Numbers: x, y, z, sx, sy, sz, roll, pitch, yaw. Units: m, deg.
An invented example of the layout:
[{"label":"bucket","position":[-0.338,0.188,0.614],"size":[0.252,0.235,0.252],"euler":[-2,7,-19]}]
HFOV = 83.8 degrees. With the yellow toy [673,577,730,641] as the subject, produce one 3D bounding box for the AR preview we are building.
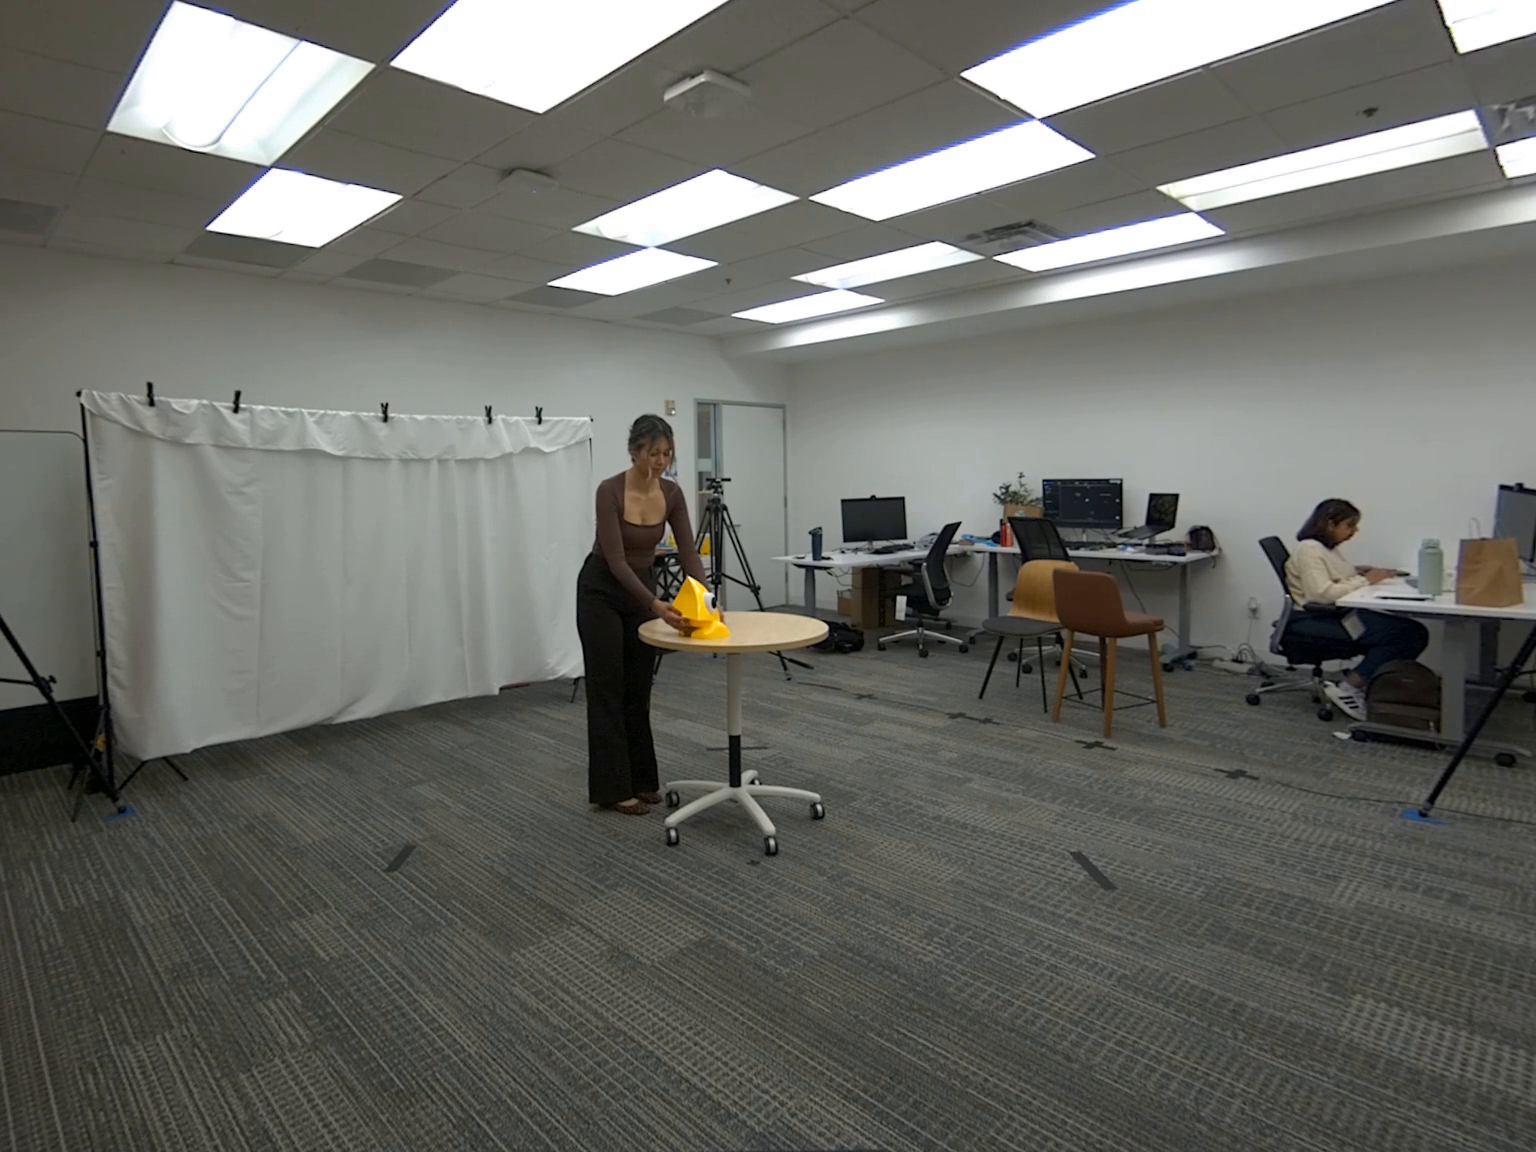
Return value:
[{"label":"yellow toy","position":[-0.260,0.113,3.283],"size":[0.188,0.230,0.211],"euler":[-4,6,-39]}]
